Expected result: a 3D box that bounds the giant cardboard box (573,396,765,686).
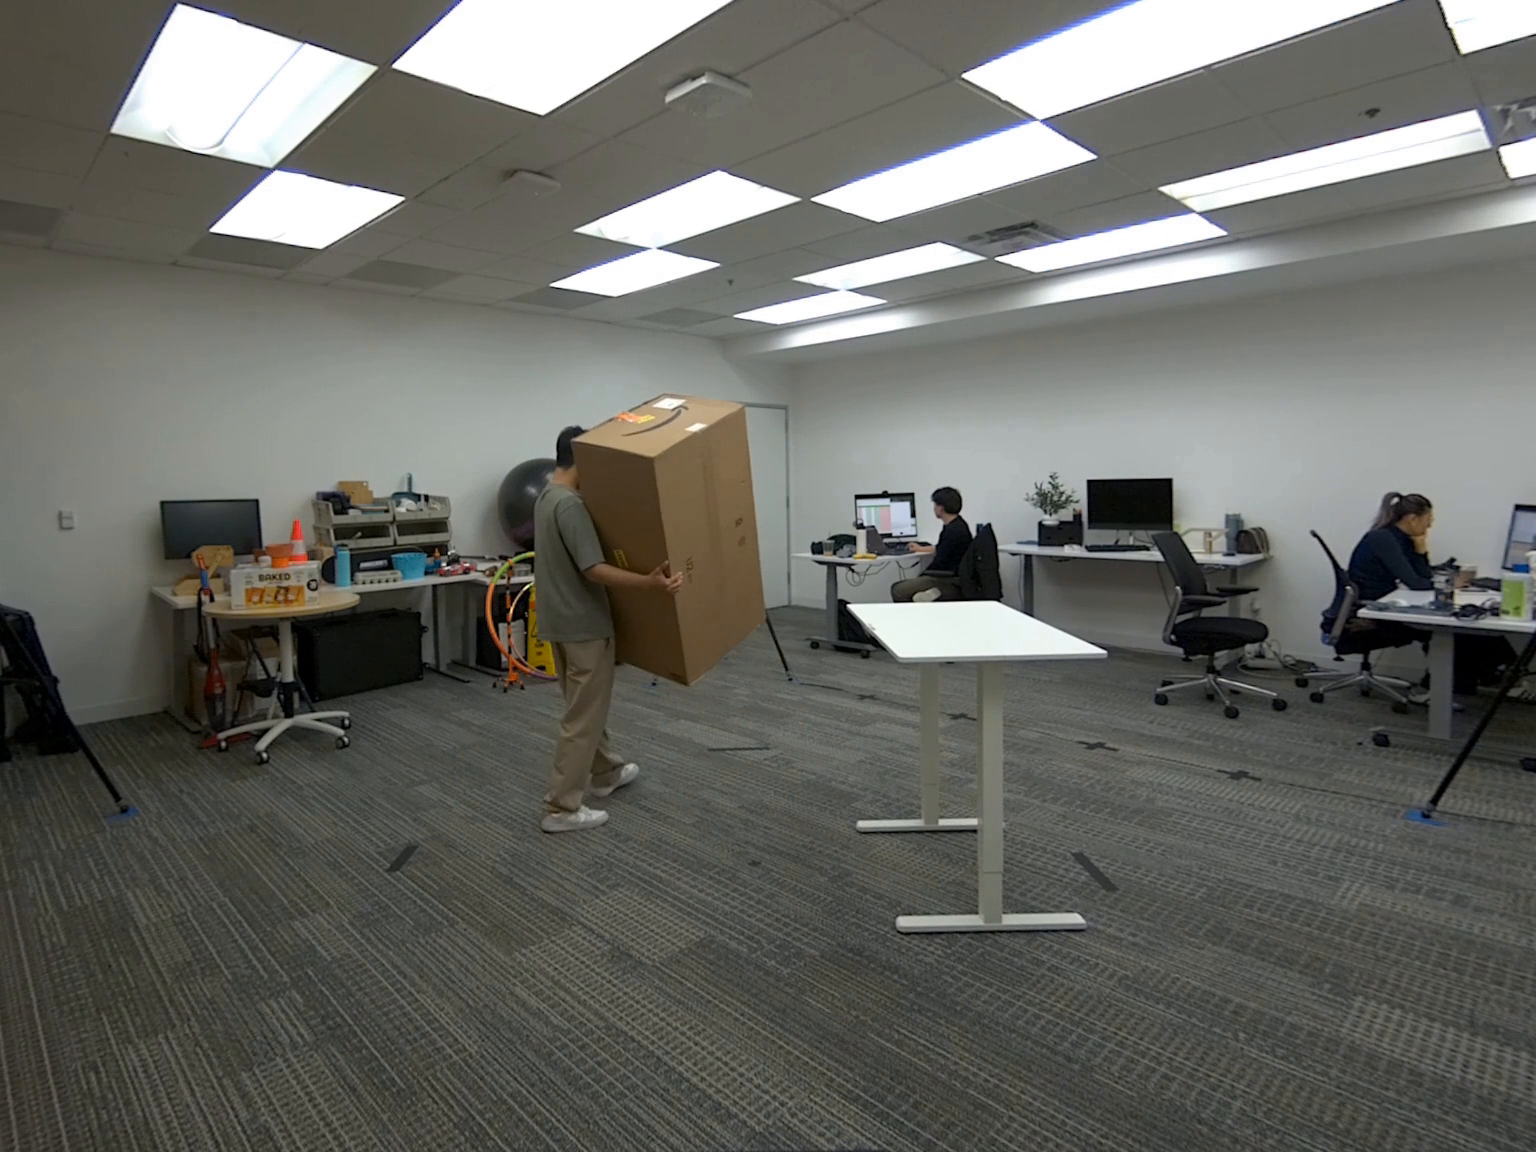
[{"bbox_3d":[-0.381,-0.160,3.554,0.440,1.000,0.574,14,35,32],"label":"giant cardboard box"}]
